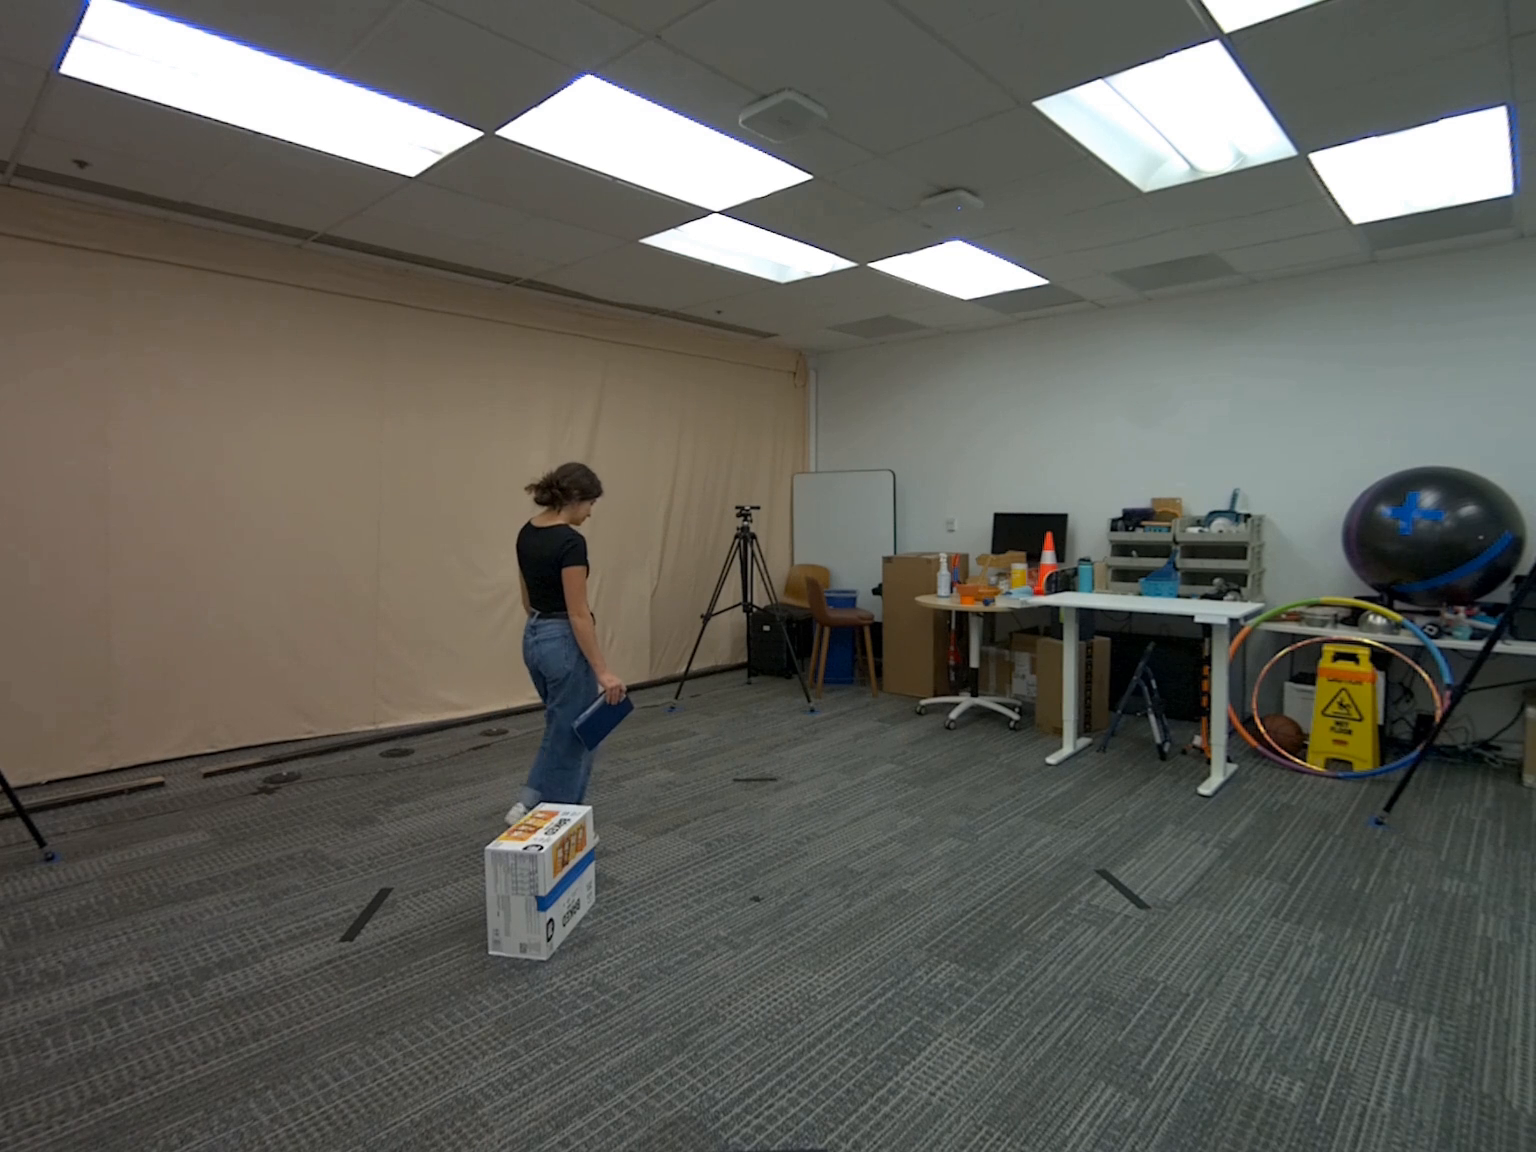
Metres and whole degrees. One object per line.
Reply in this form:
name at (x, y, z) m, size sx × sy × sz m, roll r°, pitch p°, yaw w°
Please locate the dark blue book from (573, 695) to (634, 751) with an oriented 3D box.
dark blue book at (-0.650, 0.546, 3.266) m, size 0.047 × 0.159 × 0.243 m, roll 29°, pitch 63°, yaw 36°
